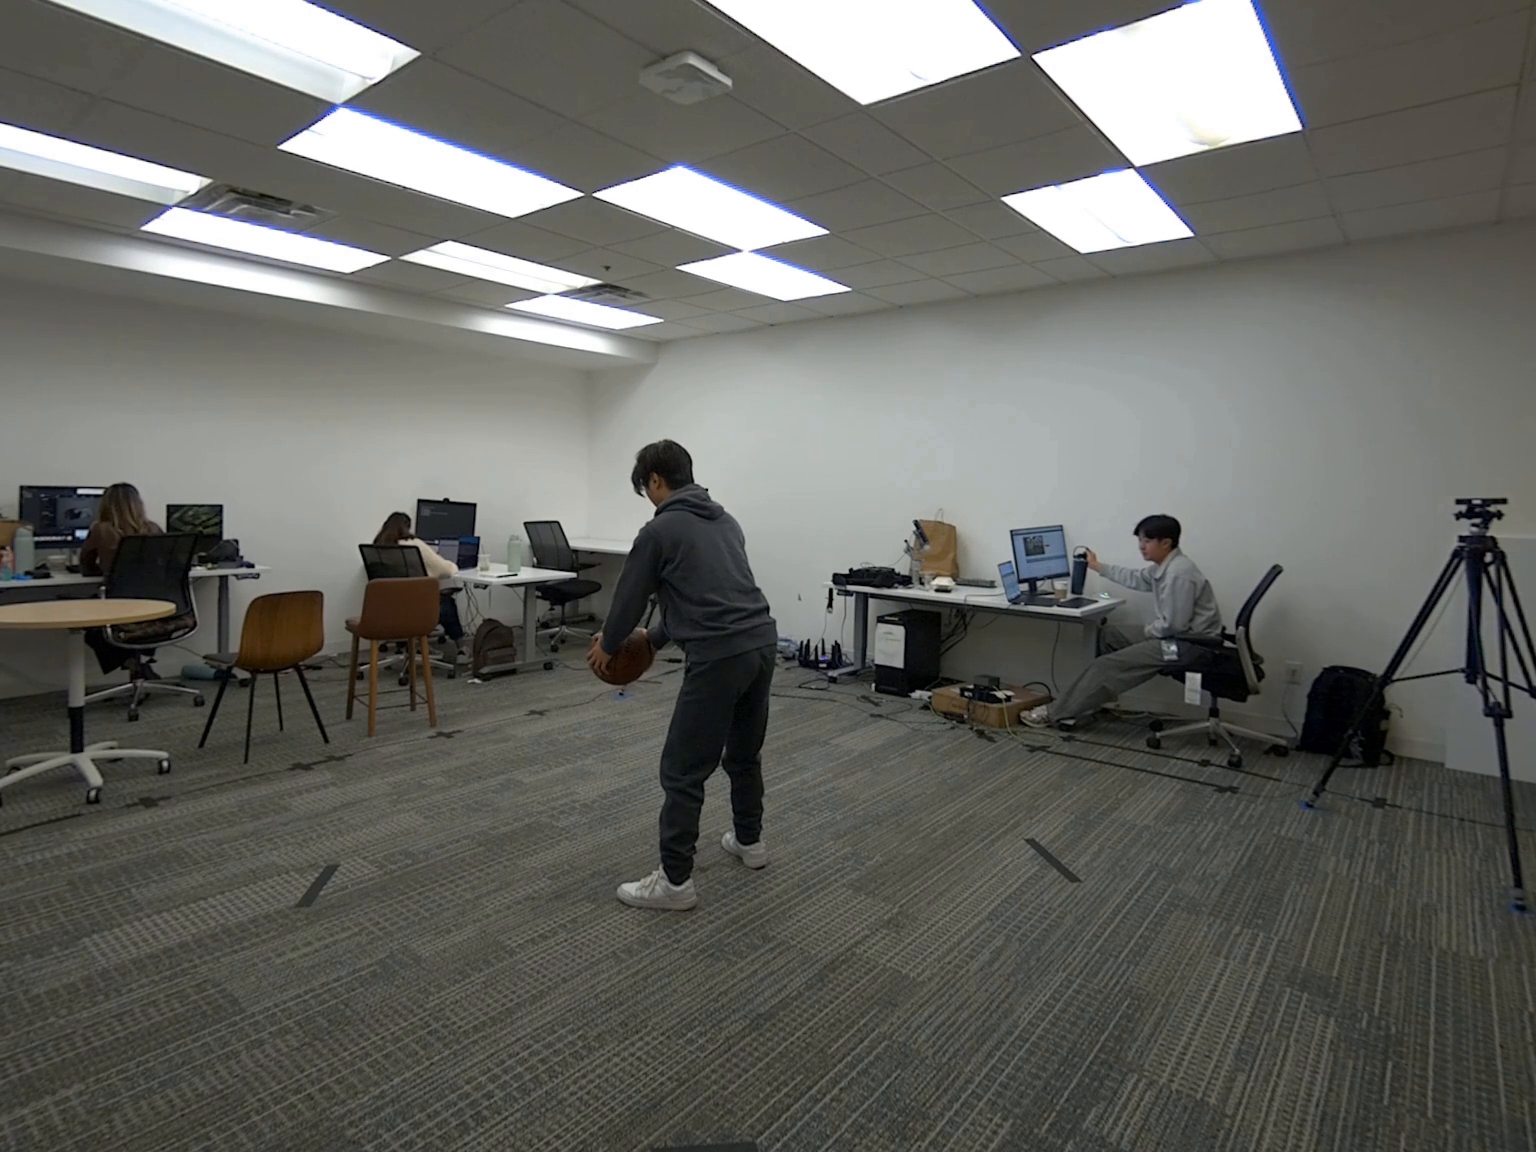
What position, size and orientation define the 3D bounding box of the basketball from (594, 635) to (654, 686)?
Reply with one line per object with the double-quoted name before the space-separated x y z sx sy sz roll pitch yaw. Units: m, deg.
"basketball" -0.587 0.311 3.315 0.235 0.235 0.237 1 4 -2
